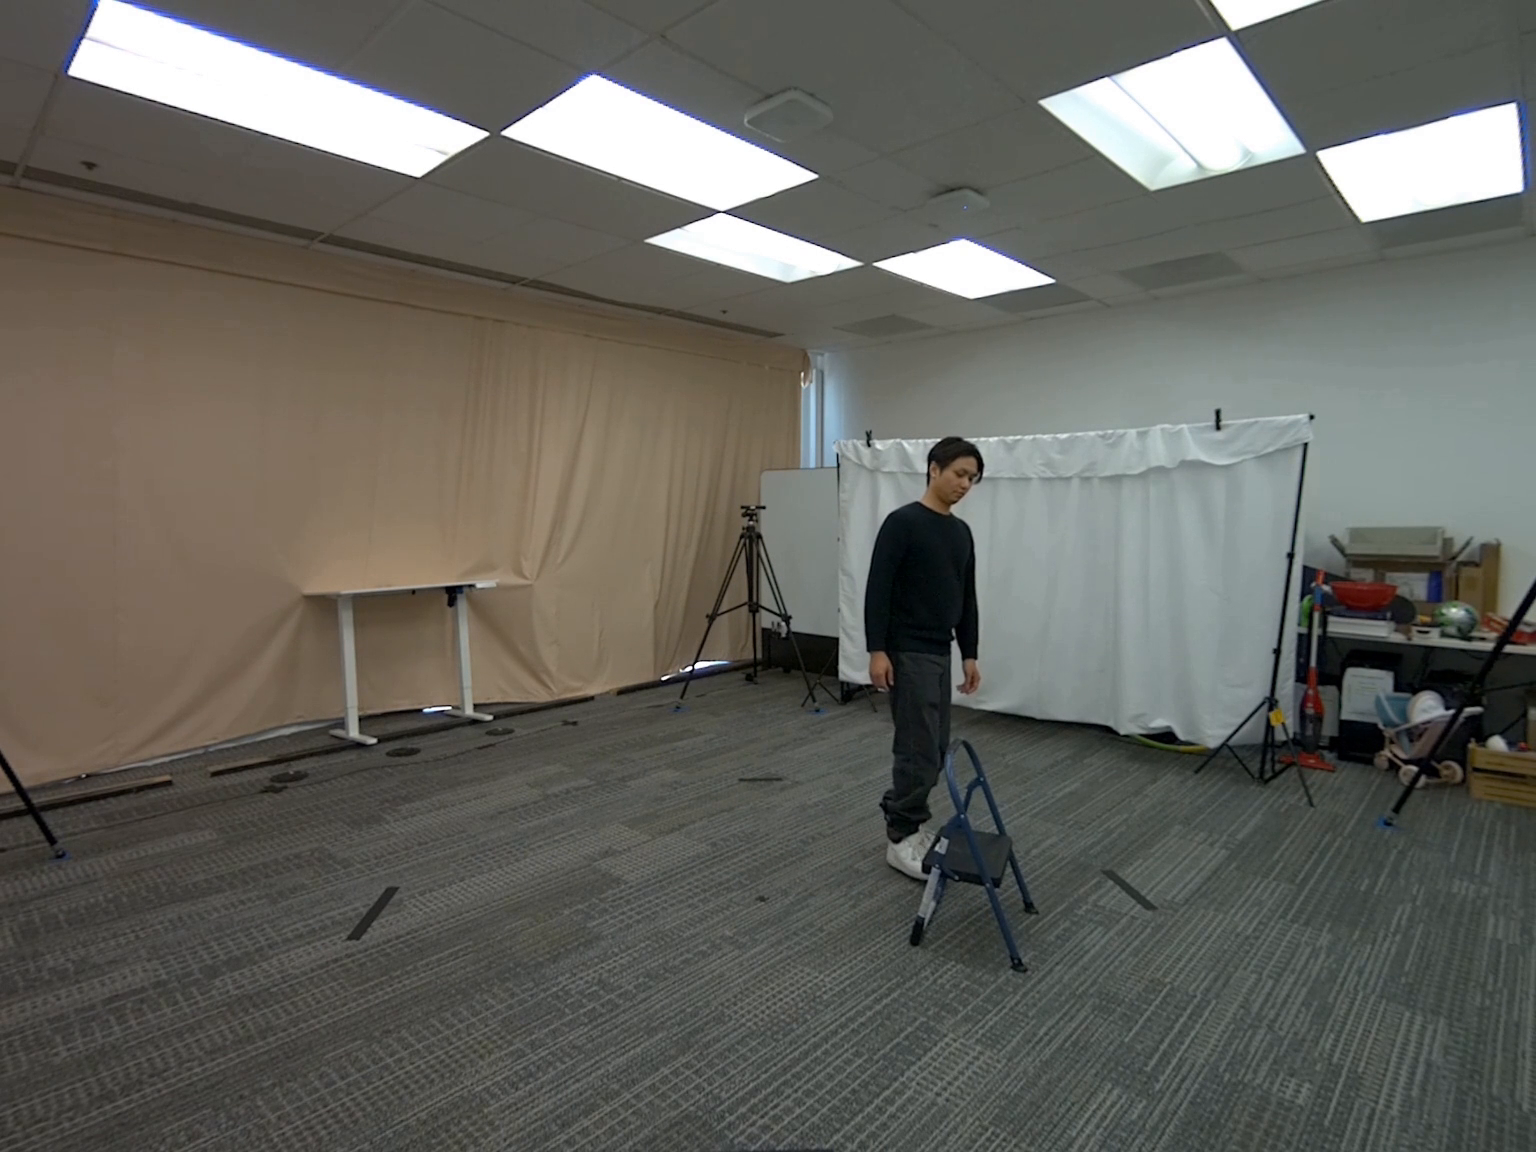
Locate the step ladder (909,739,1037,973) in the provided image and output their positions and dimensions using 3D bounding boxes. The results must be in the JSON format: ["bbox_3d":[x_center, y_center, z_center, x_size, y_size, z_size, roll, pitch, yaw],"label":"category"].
[{"bbox_3d":[0.691,0.856,2.759,0.358,0.605,0.421,2,3,23],"label":"step ladder"}]
